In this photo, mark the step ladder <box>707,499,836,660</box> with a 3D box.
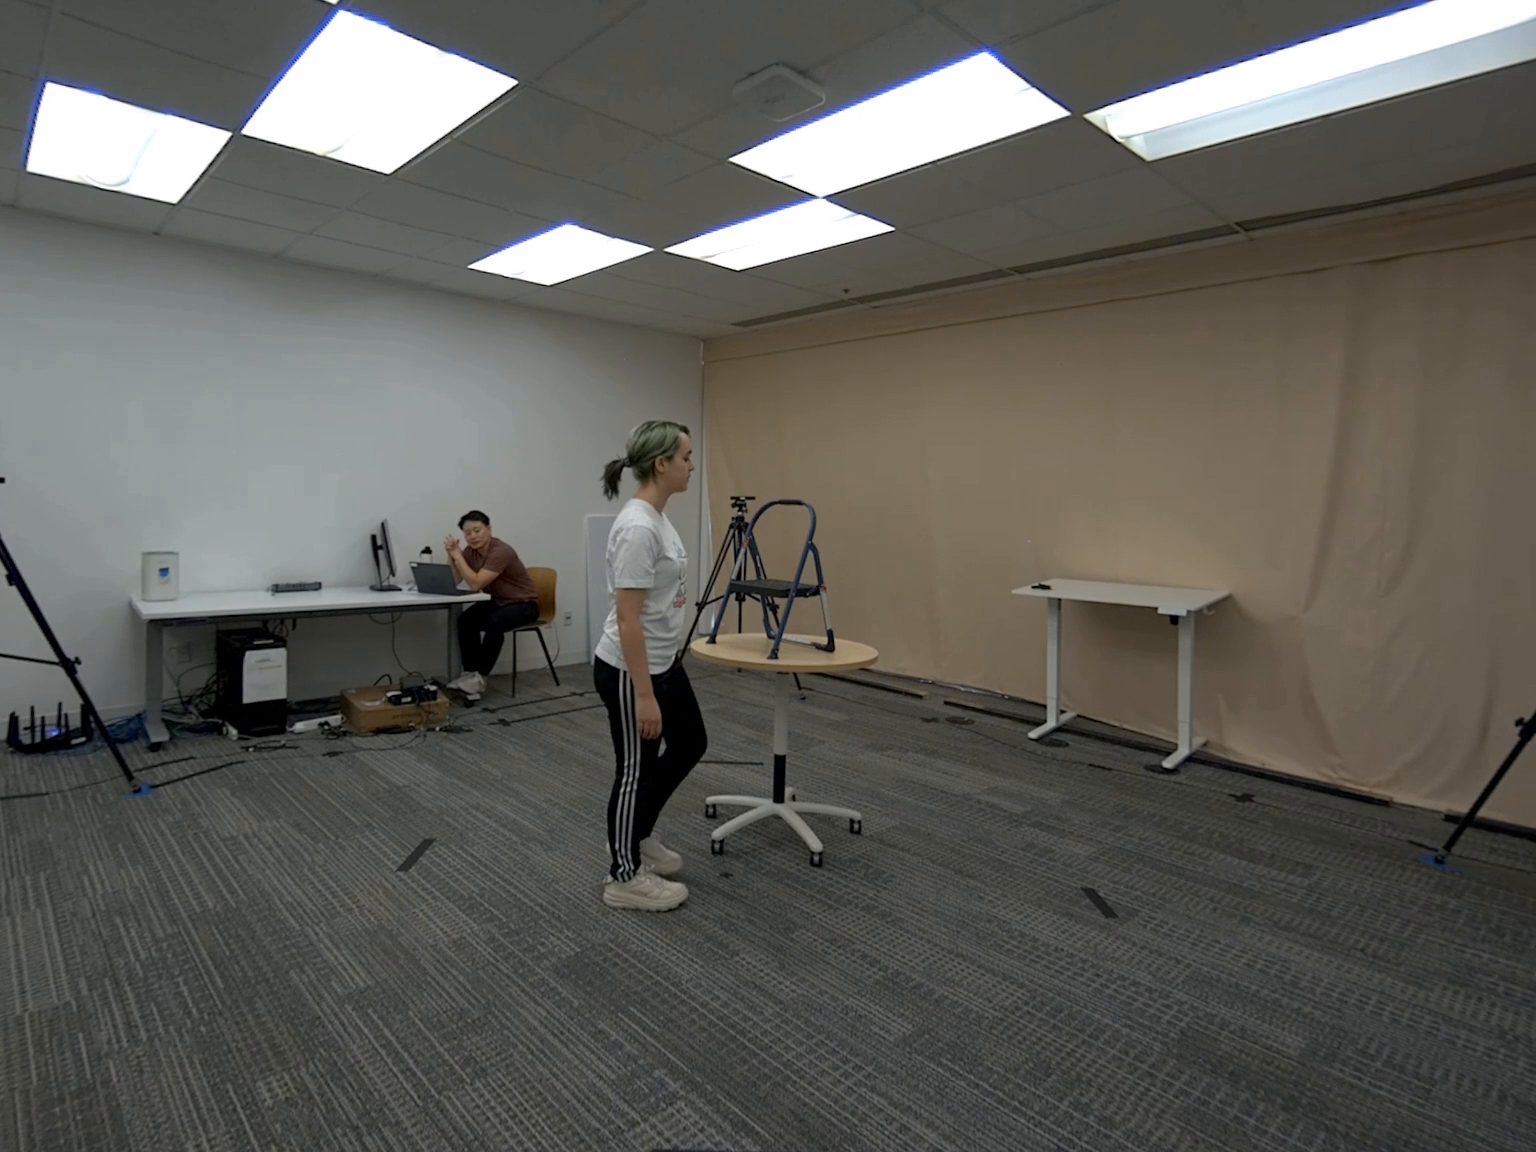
[{"bbox_3d":[0.013,-0.006,3.427,0.341,0.604,0.441,-1,4,-39],"label":"step ladder"}]
